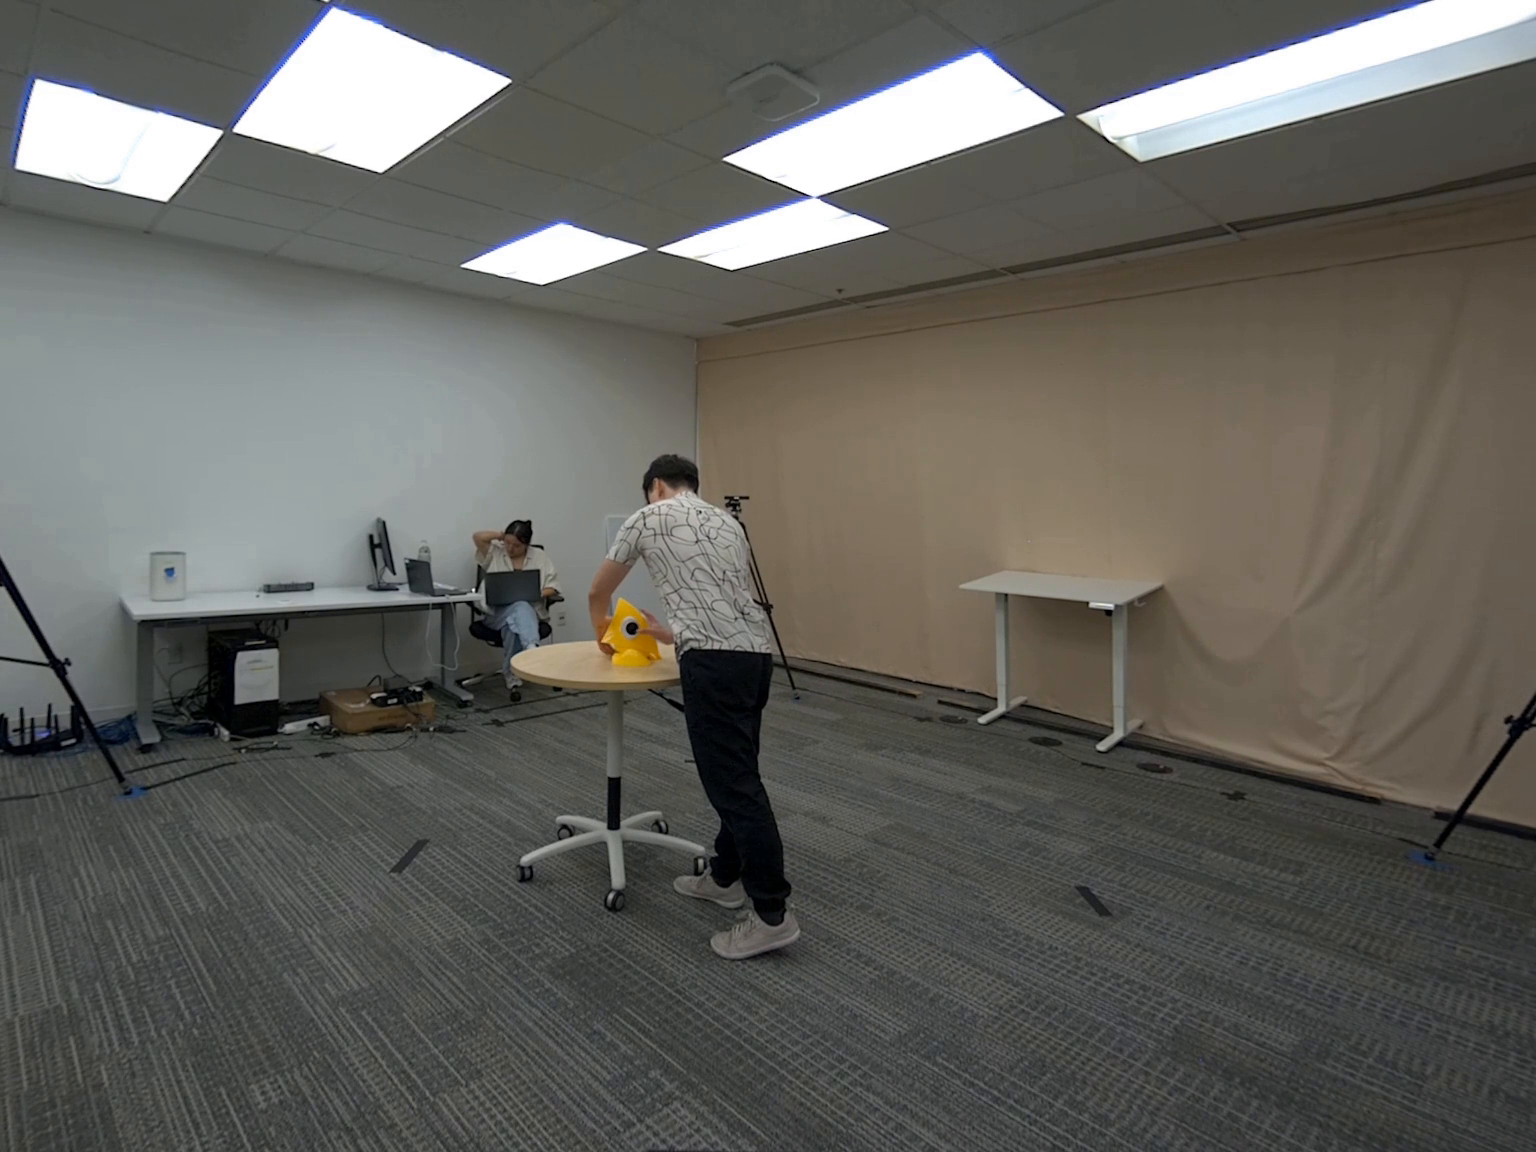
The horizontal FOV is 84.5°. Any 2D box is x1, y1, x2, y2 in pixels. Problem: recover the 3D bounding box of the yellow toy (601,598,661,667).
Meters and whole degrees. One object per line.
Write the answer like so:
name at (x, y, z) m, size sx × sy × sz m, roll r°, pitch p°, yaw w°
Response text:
yellow toy at (-0.503, 0.203, 3.106) m, size 0.195 × 0.230 × 0.203 m, roll 5°, pitch 5°, yaw 12°
